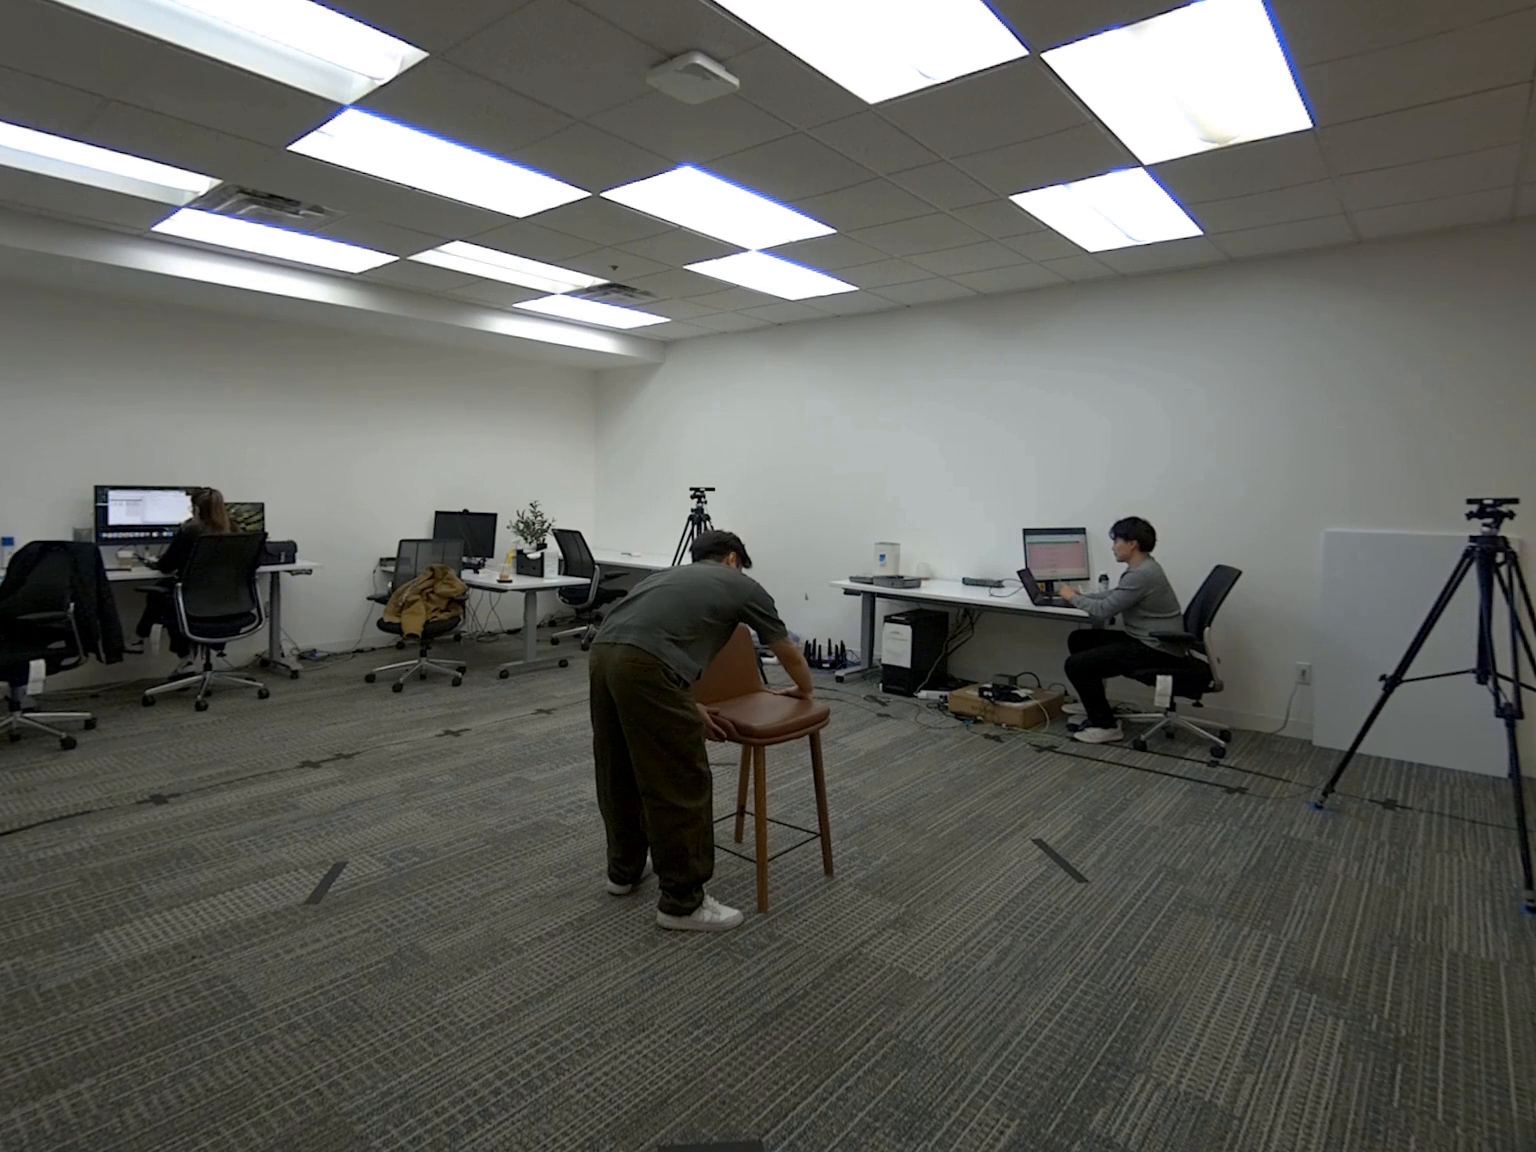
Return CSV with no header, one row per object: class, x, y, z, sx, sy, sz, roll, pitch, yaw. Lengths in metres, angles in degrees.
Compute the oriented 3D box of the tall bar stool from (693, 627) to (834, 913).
tall bar stool,-0.058,0.637,3.069,0.483,0.888,0.443,3,3,40
